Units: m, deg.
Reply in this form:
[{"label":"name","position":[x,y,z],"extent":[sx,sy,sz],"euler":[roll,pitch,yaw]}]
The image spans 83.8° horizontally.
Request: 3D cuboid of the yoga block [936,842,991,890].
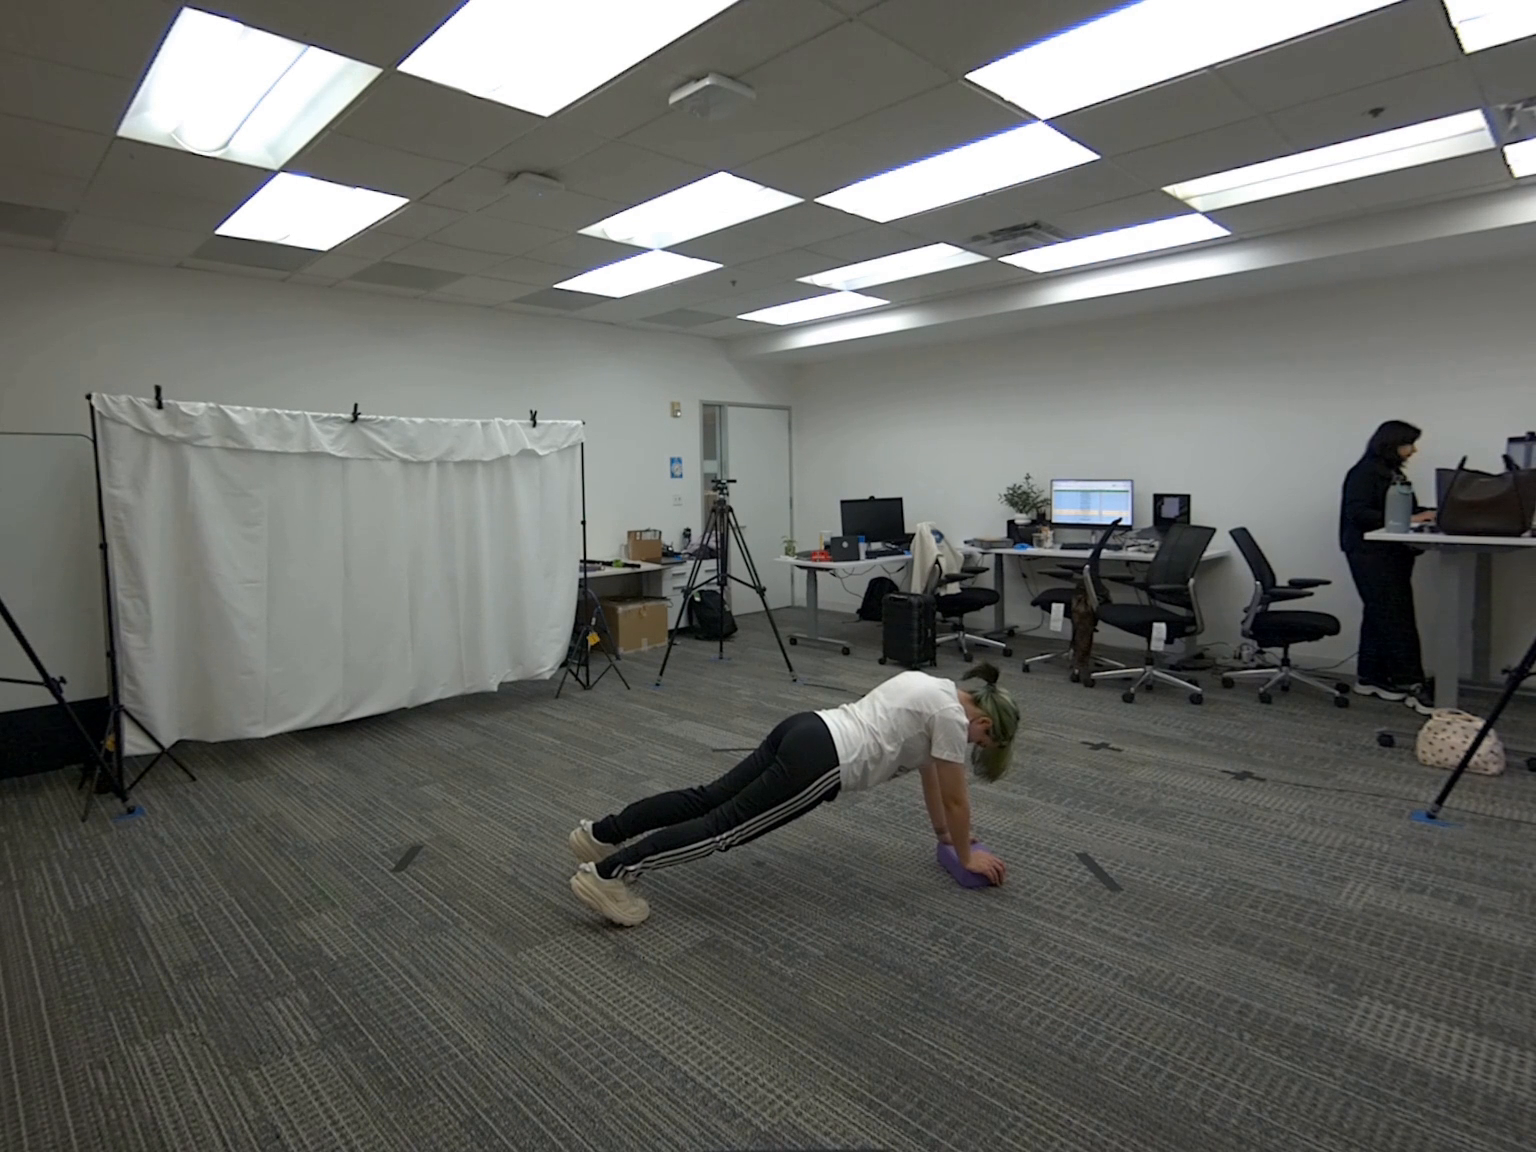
[{"label":"yoga block","position":[0.706,1.006,3.007],"extent":[0.148,0.076,0.232],"euler":[-2,5,-9]}]
